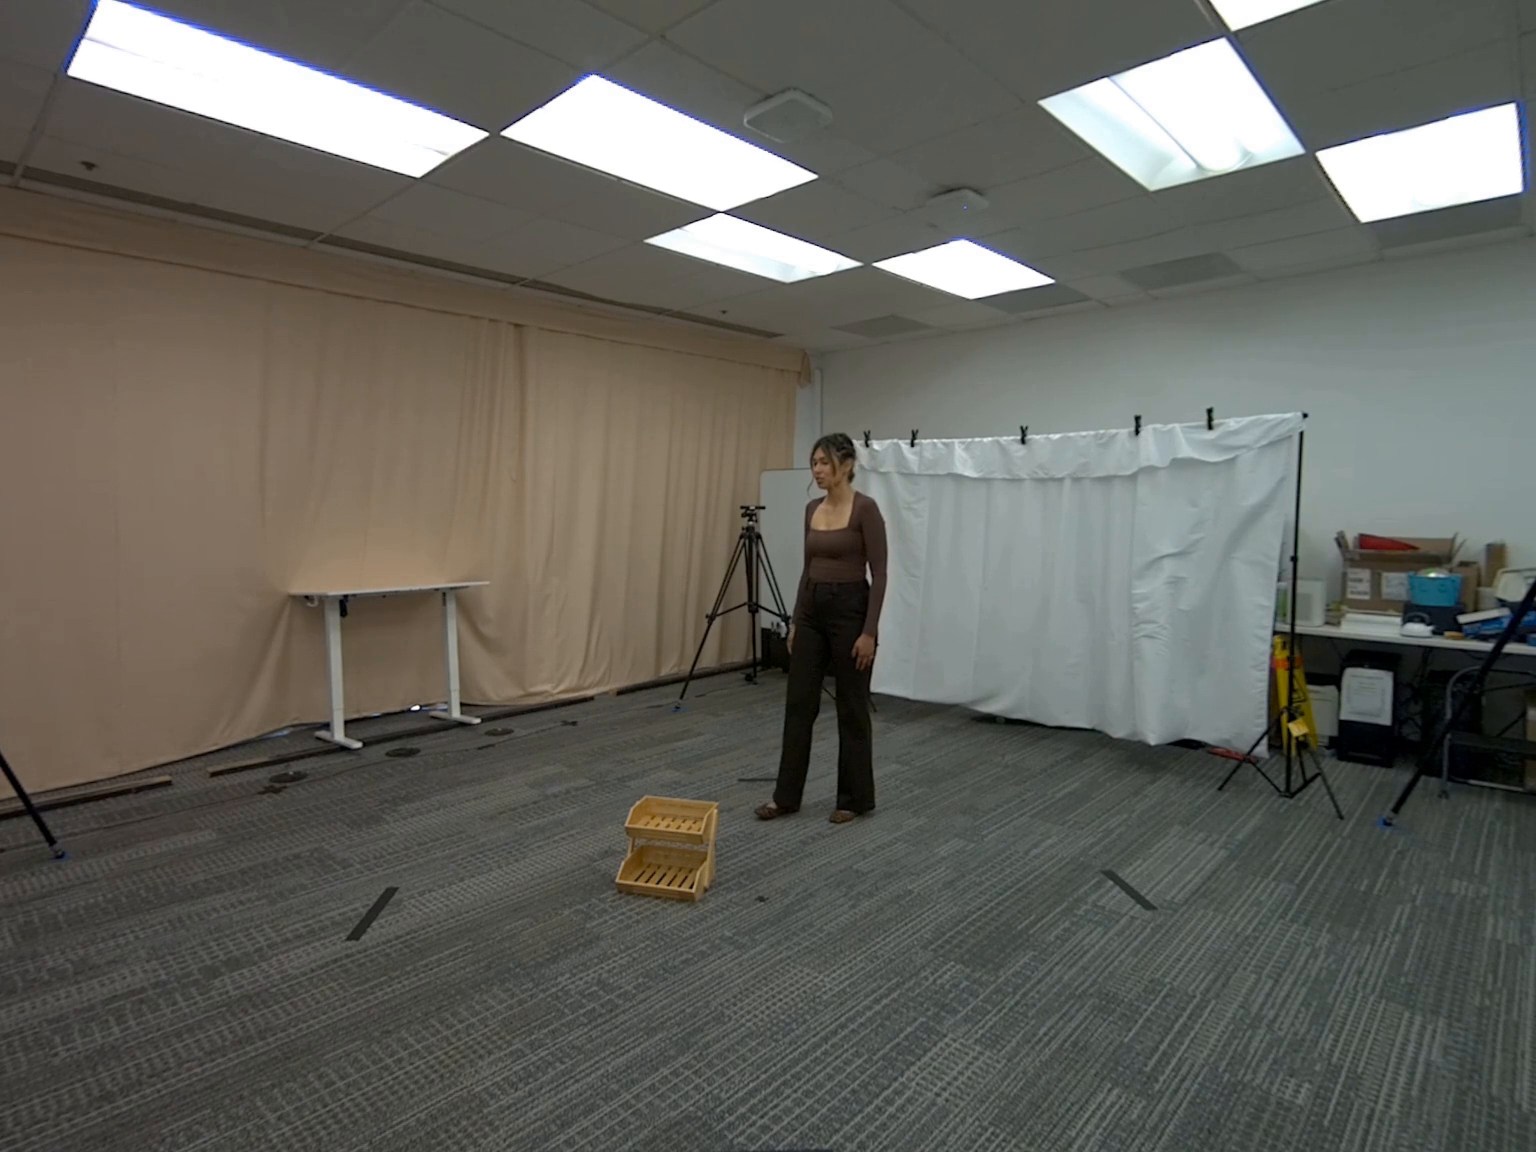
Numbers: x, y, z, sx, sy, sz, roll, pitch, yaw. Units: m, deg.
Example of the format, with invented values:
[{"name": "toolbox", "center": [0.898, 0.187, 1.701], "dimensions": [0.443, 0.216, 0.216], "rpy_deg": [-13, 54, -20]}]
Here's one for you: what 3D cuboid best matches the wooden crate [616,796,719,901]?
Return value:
[{"name": "wooden crate", "center": [-0.366, 1.002, 3.115], "dimensions": [0.330, 0.273, 0.298], "rpy_deg": [1, 4, 14]}]
